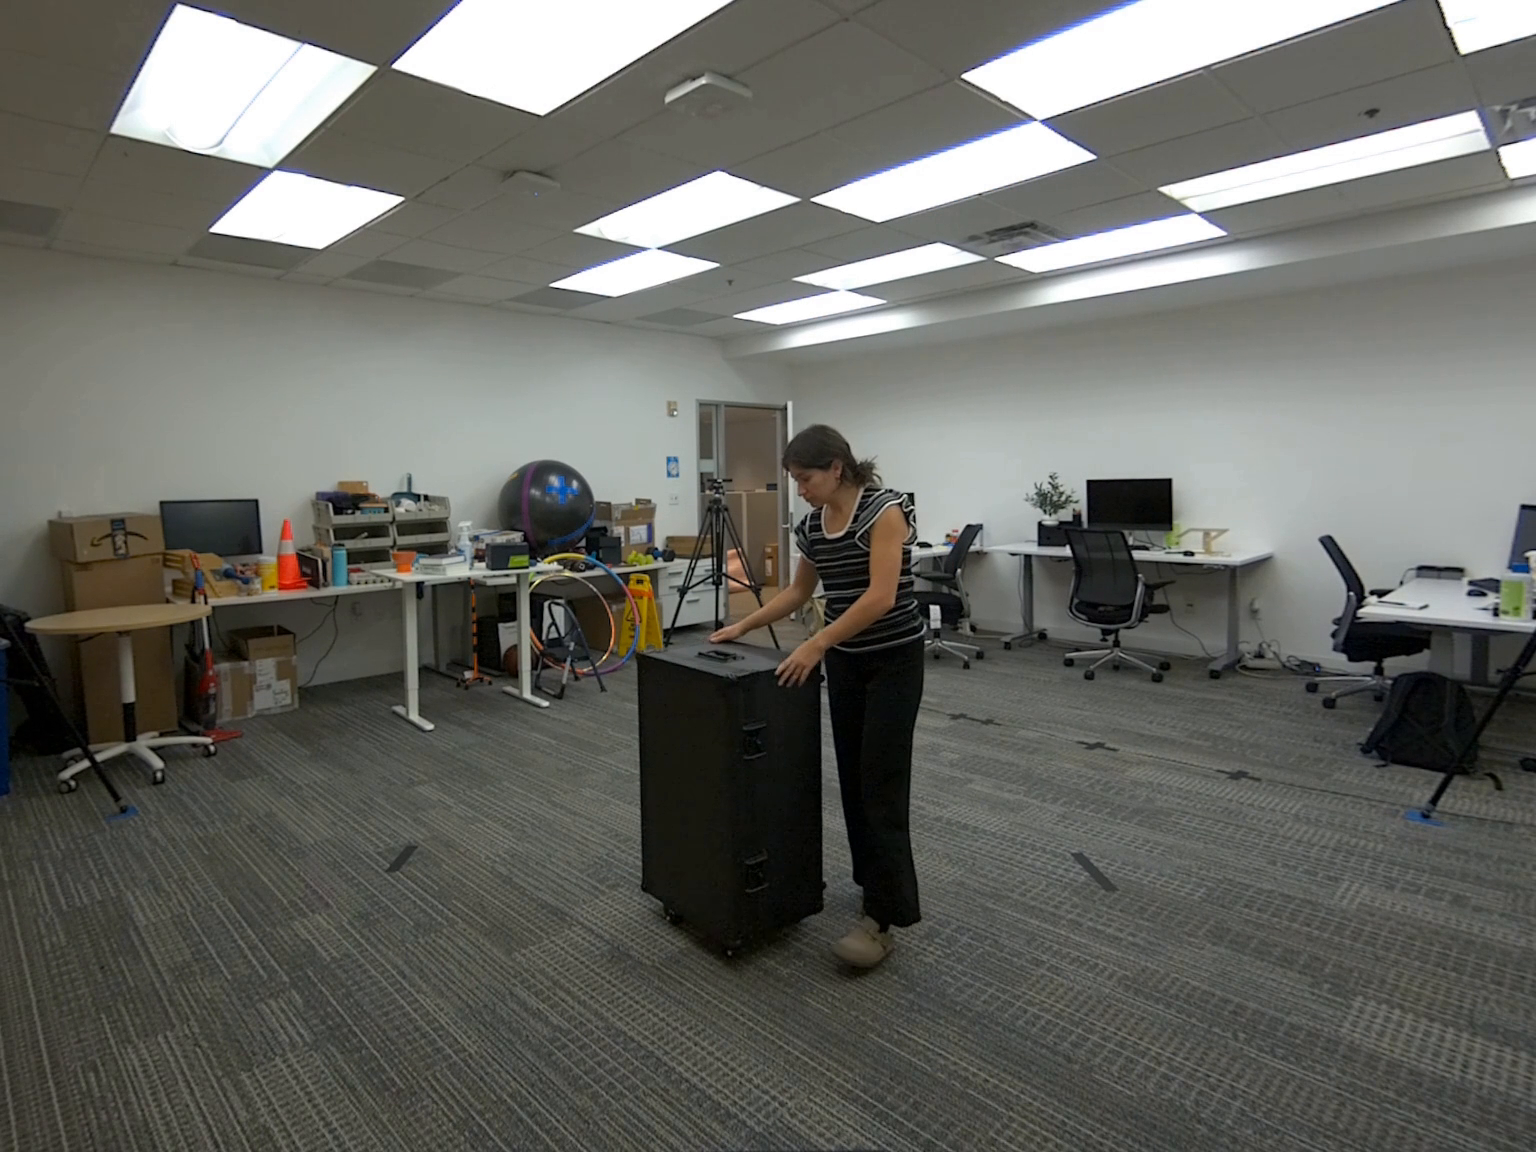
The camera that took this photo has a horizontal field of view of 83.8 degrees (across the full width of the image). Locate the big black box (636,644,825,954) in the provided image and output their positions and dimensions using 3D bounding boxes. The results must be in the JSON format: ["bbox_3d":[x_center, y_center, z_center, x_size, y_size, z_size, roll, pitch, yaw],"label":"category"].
[{"bbox_3d":[-0.118,0.668,2.682,0.386,0.859,0.537,-4,5,-40],"label":"big black box"}]
